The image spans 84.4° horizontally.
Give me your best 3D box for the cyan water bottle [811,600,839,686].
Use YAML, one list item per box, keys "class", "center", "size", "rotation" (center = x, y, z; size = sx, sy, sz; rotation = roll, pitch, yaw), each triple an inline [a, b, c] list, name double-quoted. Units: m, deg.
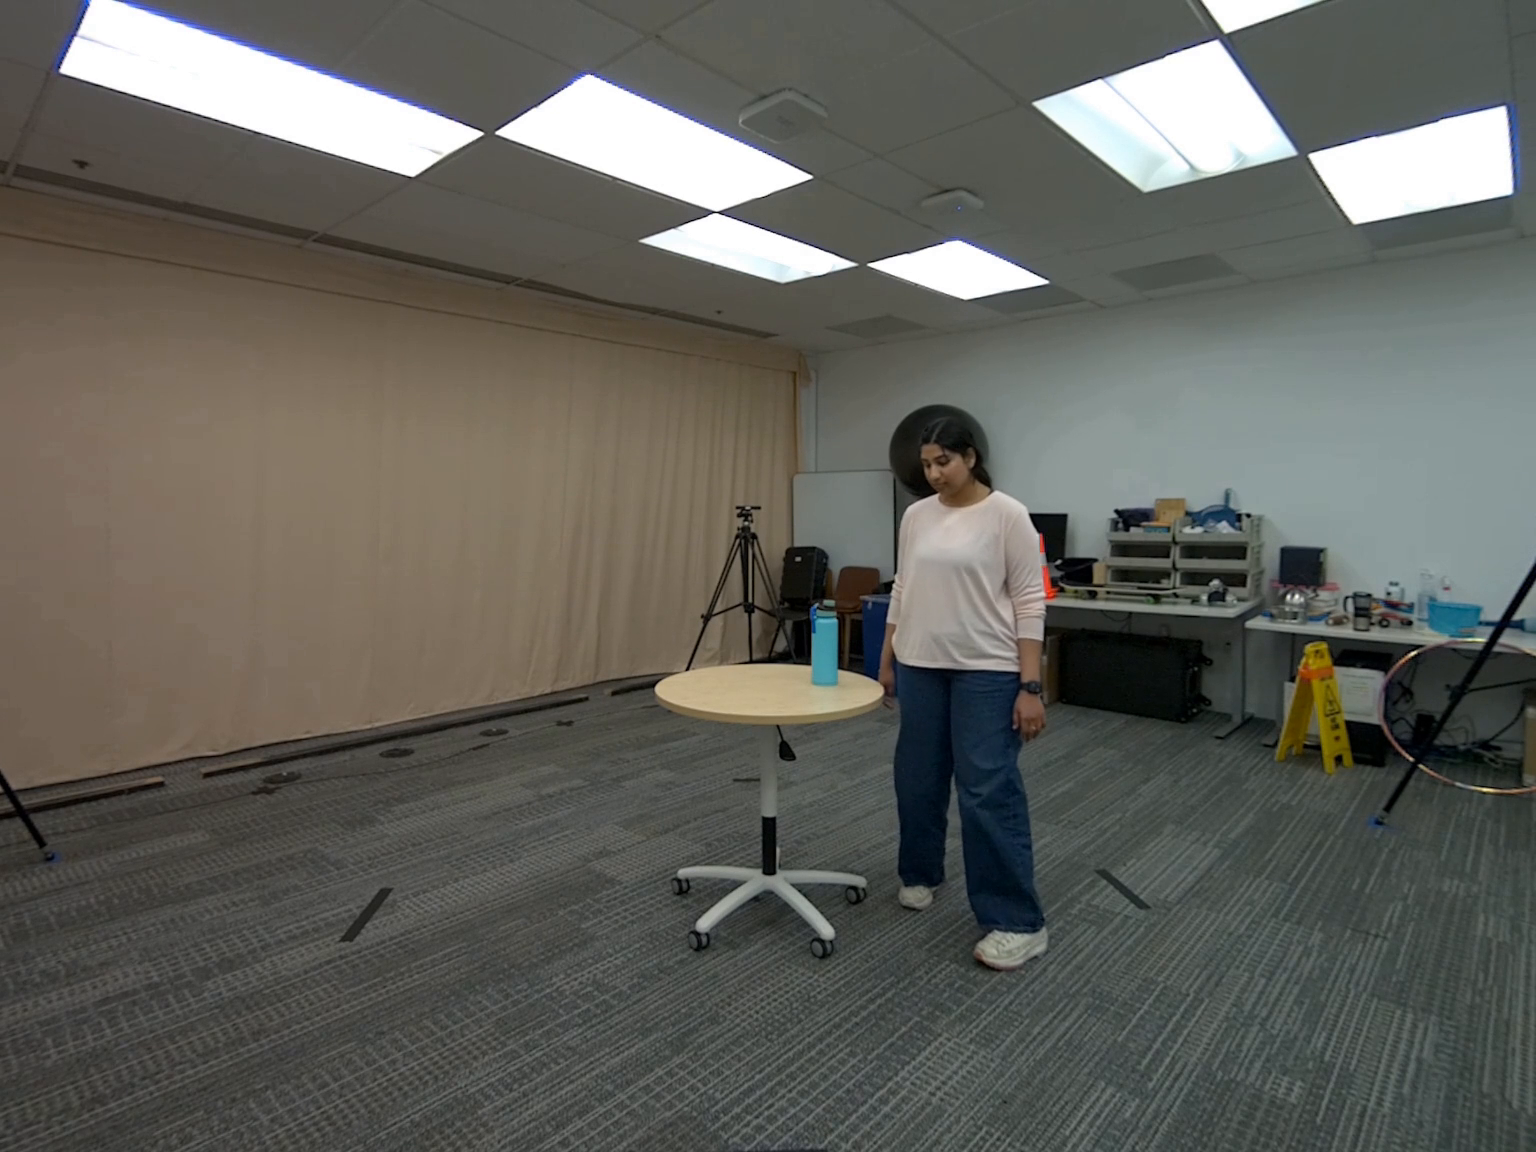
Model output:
- class: "cyan water bottle"
  center: [0.203, 0.231, 2.874]
  size: [0.092, 0.283, 0.092]
  rotation: [-1, 4, -2]
